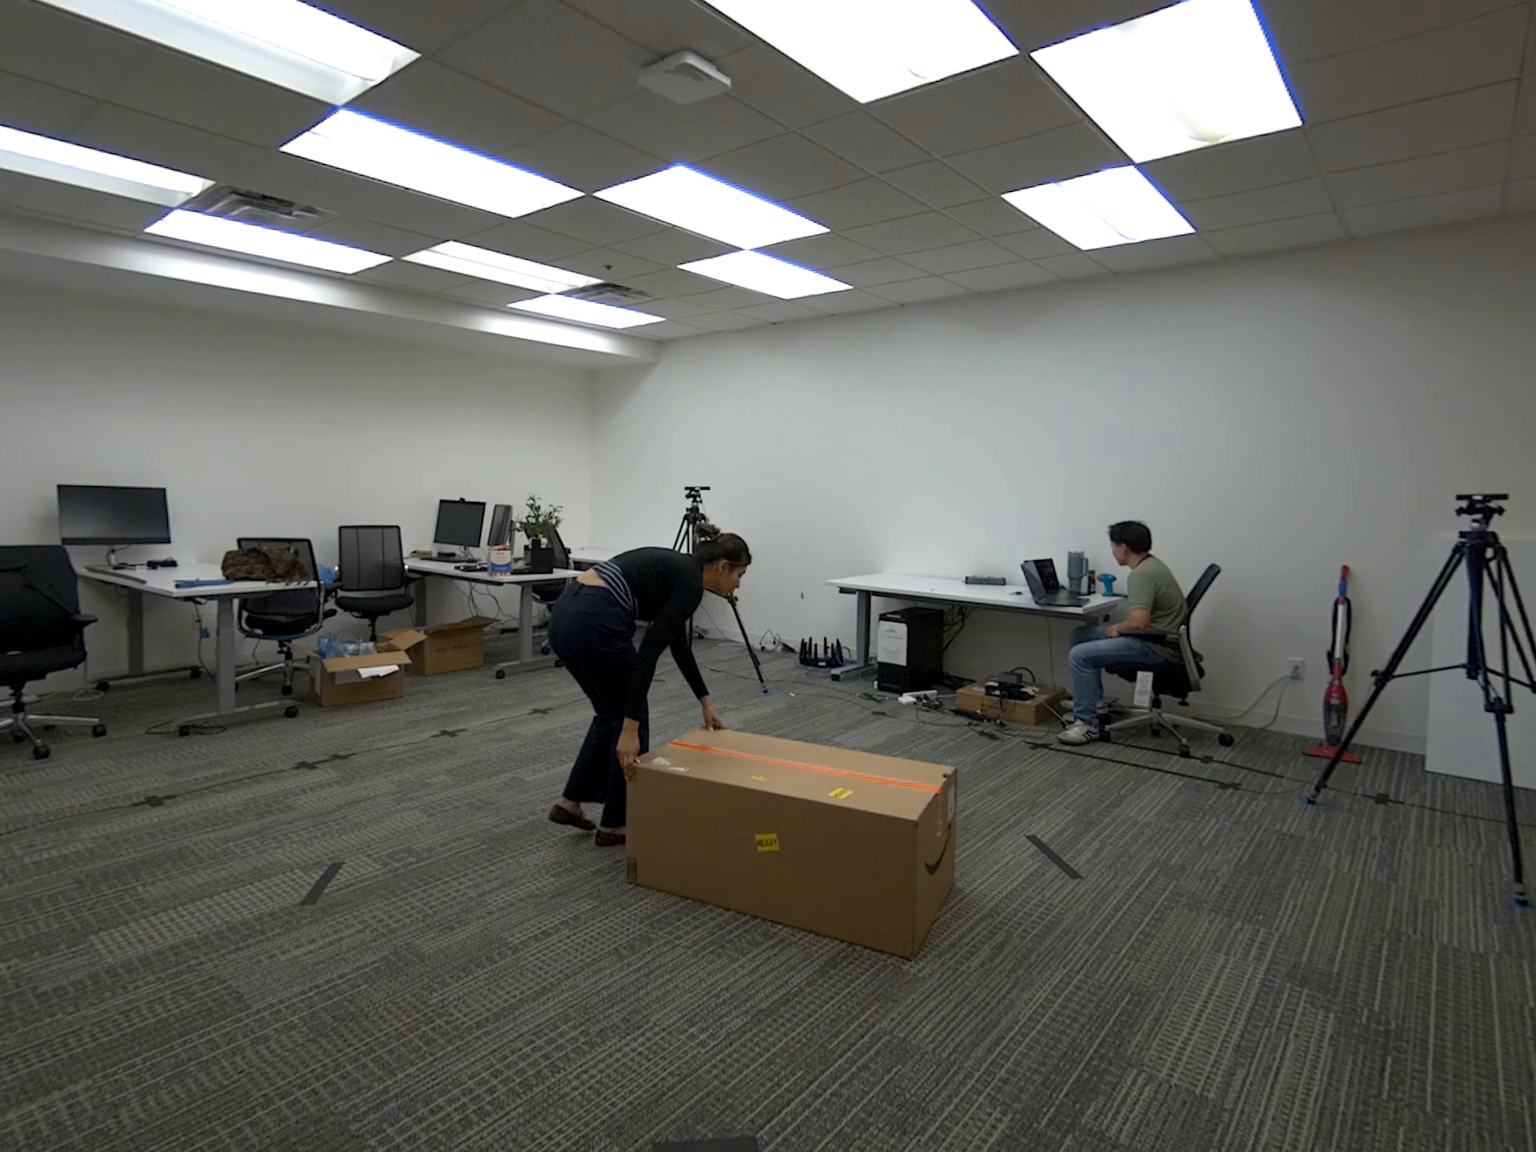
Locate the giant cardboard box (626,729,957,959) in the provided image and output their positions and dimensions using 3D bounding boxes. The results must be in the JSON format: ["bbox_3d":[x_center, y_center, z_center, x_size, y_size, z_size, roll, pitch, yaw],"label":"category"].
[{"bbox_3d":[0.078,0.867,2.989,1.054,0.424,0.565,4,6,26],"label":"giant cardboard box"}]
